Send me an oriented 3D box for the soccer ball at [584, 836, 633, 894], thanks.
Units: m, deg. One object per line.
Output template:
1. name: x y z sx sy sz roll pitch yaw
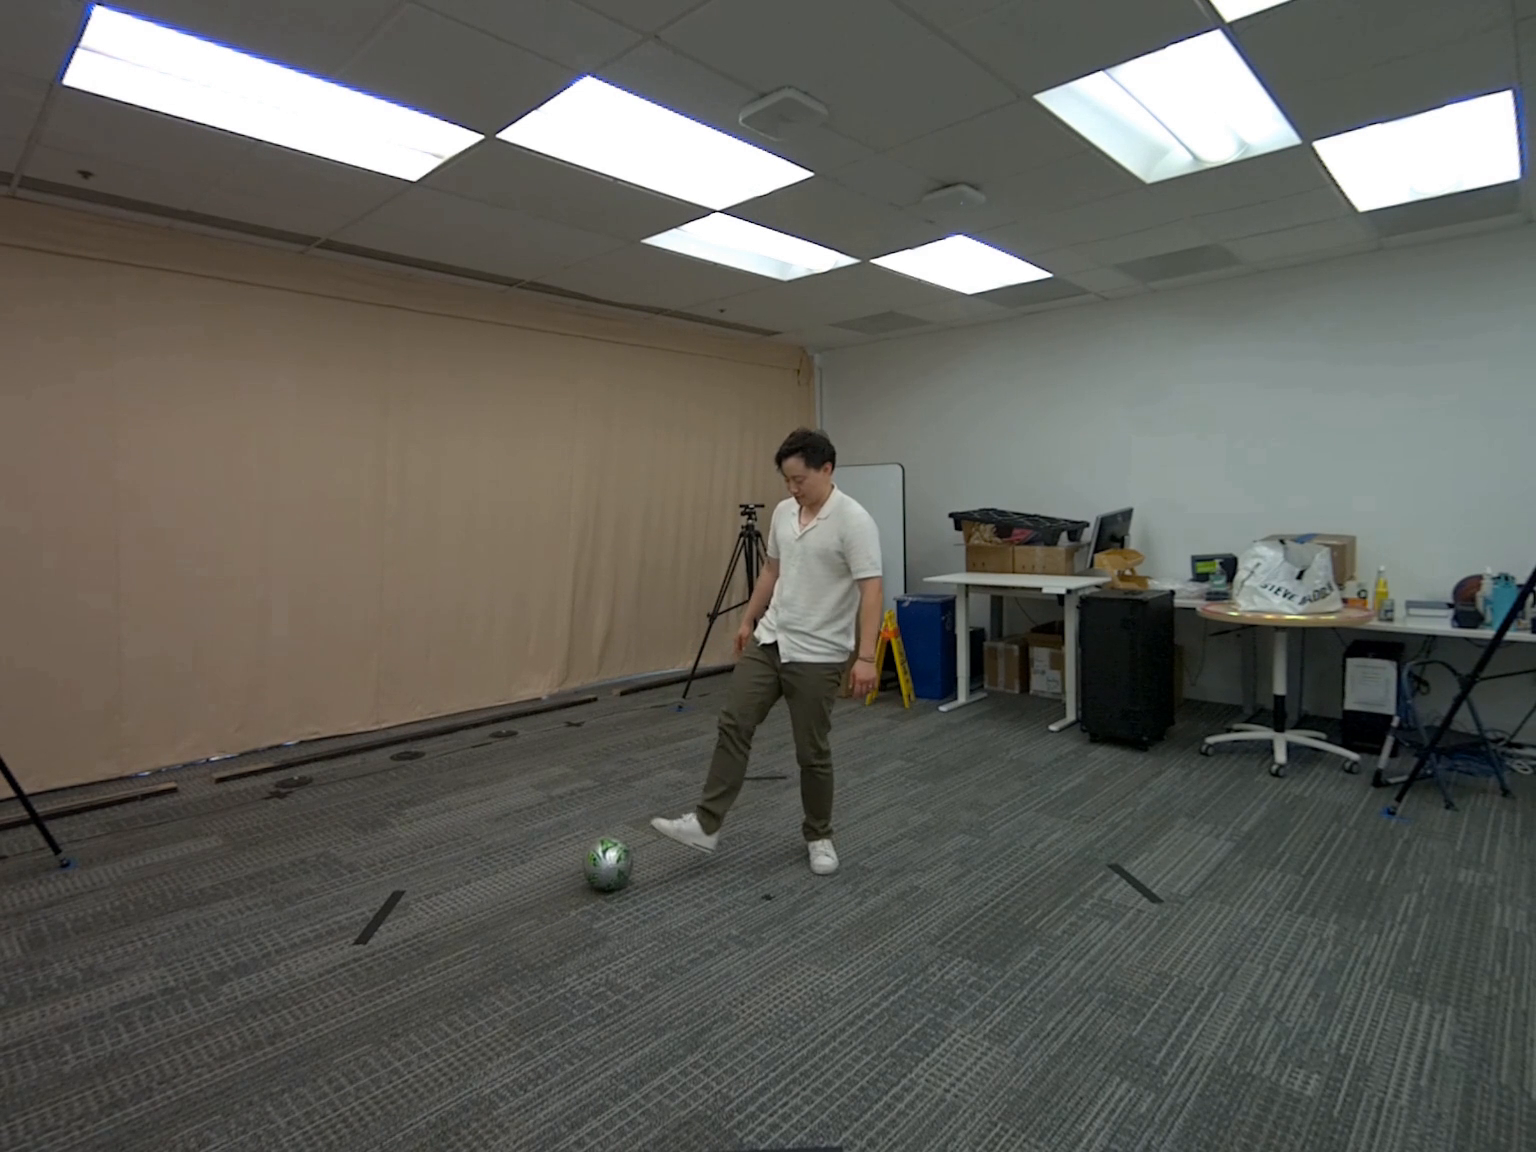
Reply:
1. soccer ball: -0.585 1.053 3.082 0.187 0.187 0.188 -1 4 -2
